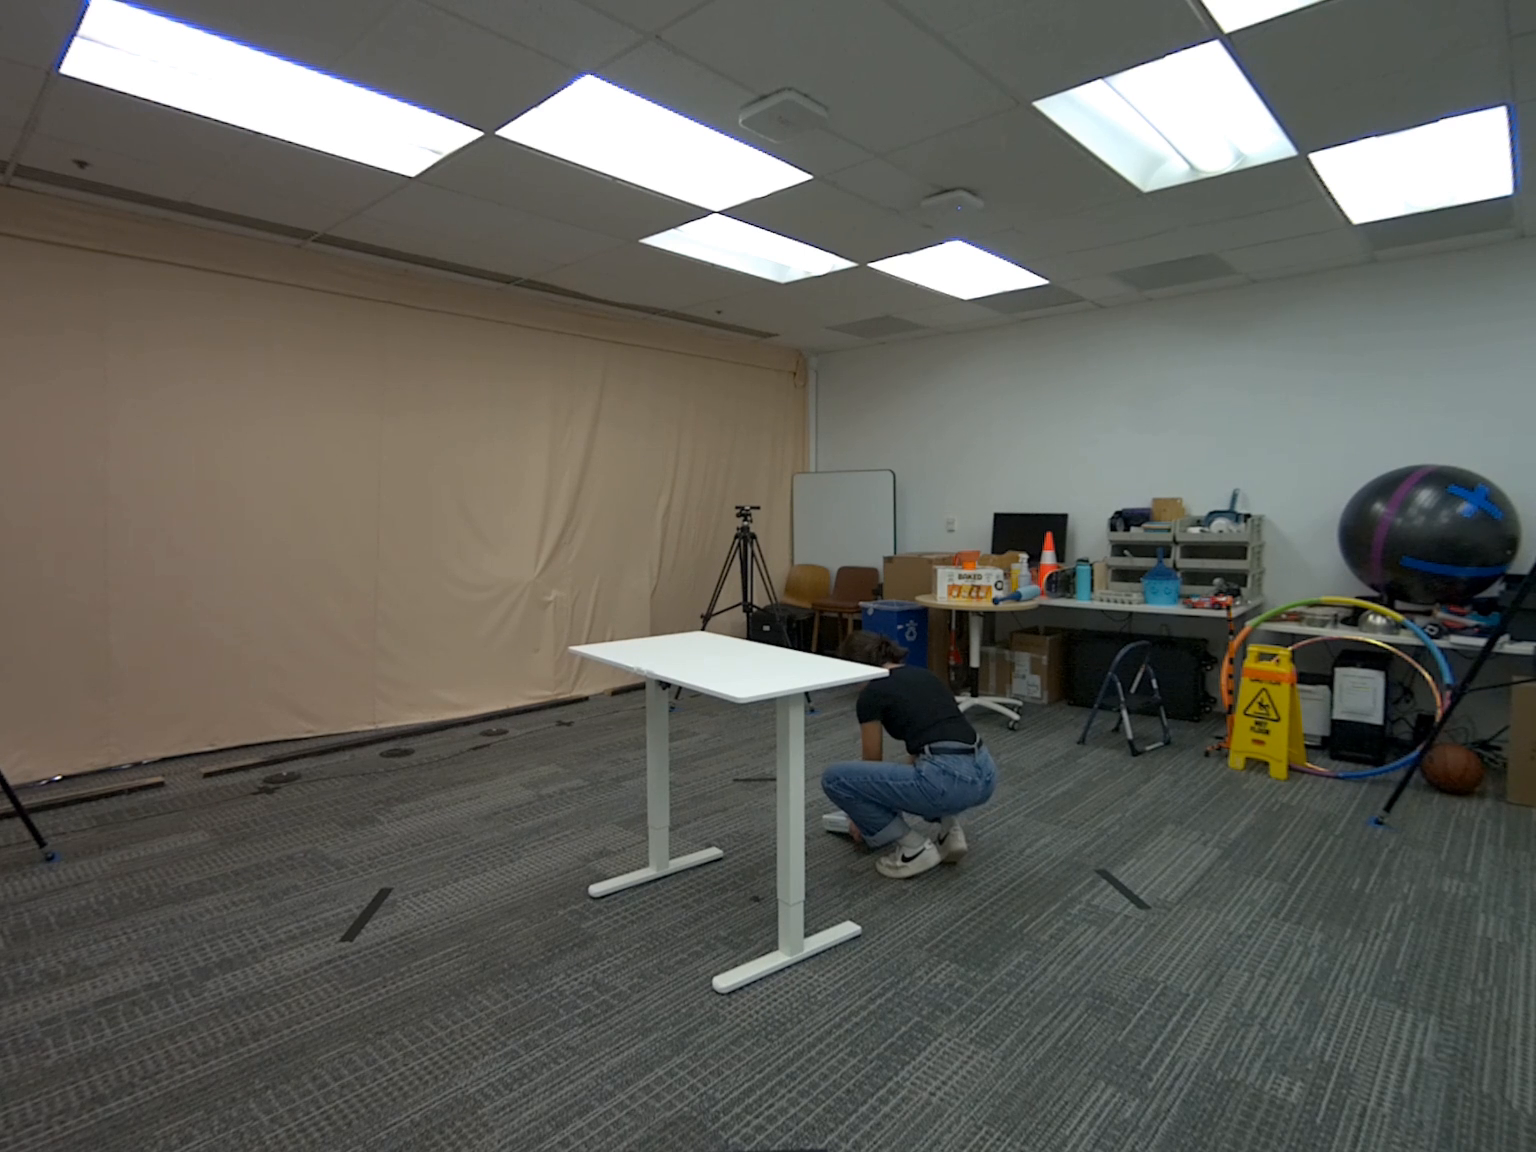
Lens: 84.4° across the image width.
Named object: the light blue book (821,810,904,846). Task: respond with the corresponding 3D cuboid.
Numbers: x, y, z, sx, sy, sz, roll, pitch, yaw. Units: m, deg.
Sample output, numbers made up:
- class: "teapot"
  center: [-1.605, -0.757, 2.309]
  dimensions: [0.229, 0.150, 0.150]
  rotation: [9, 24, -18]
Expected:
- class: "light blue book"
  center: [0.389, 1.031, 3.551]
  dimensions: [0.186, 0.059, 0.267]
  rotation: [-2, -6, -34]
